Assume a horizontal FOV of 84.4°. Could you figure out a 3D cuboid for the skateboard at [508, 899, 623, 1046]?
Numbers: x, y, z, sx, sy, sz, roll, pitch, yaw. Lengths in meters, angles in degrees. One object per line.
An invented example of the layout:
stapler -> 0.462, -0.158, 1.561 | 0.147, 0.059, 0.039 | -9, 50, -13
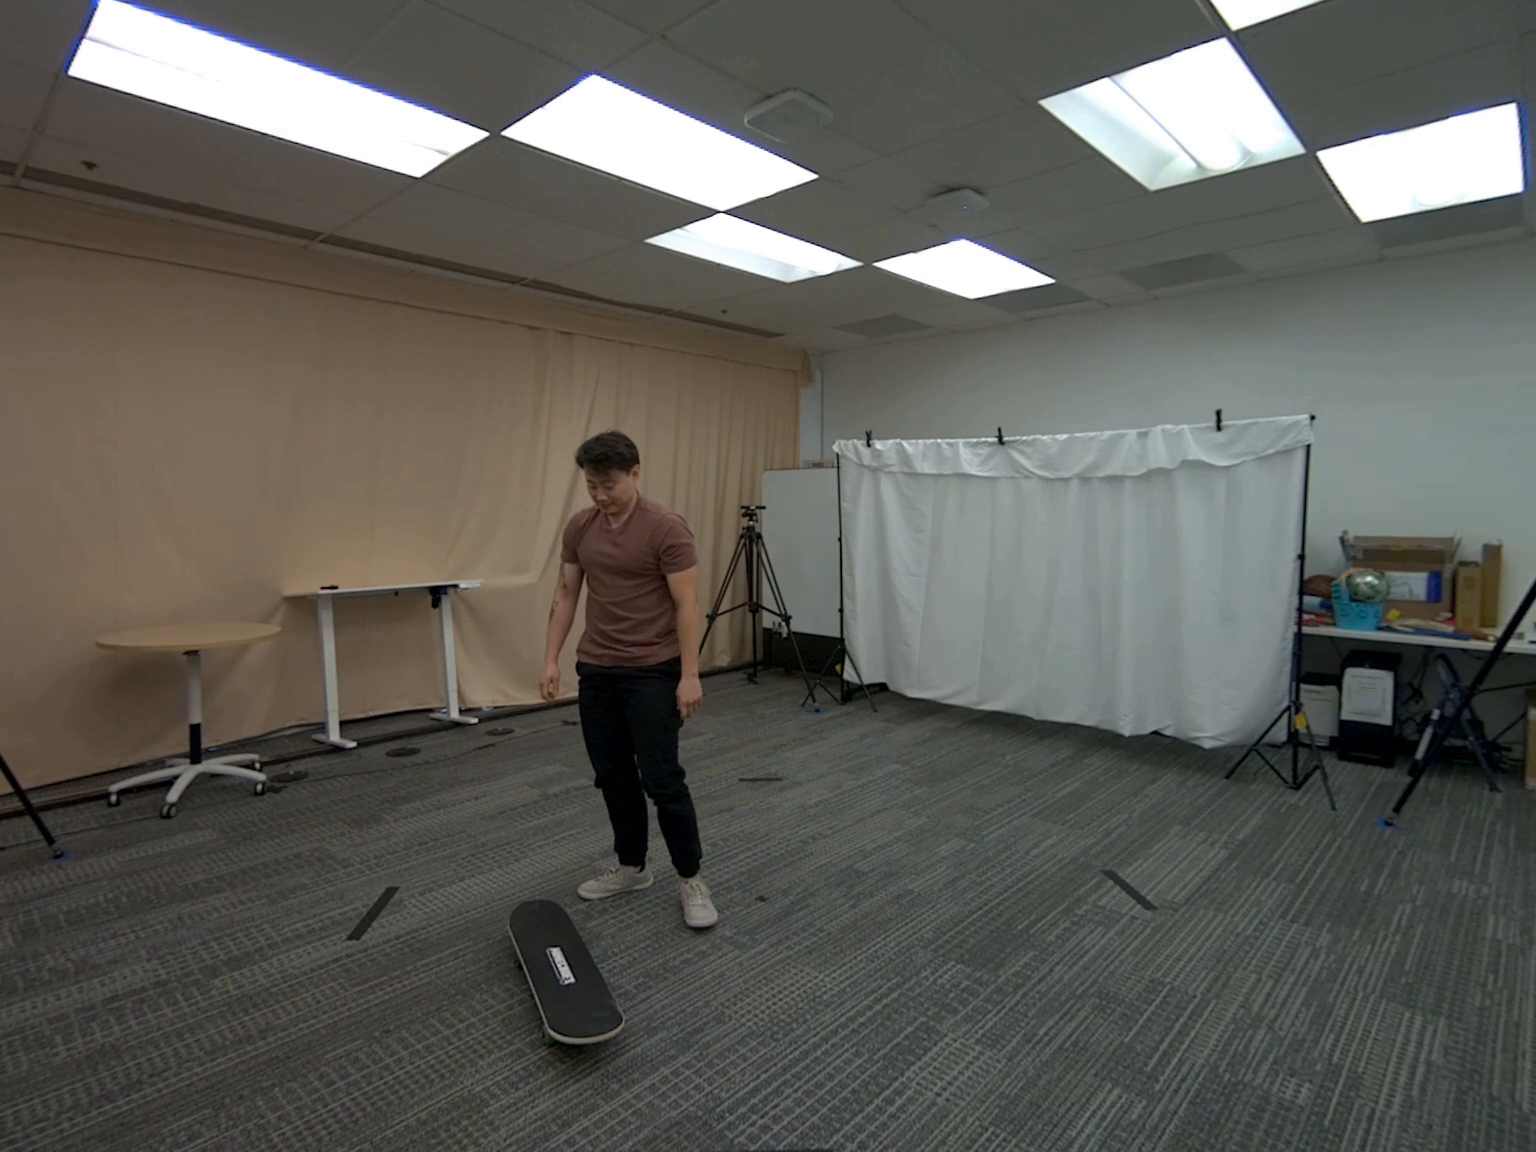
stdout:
skateboard -> -0.590, 1.139, 2.396 | 0.189, 0.110, 0.806 | -1, 5, -25
